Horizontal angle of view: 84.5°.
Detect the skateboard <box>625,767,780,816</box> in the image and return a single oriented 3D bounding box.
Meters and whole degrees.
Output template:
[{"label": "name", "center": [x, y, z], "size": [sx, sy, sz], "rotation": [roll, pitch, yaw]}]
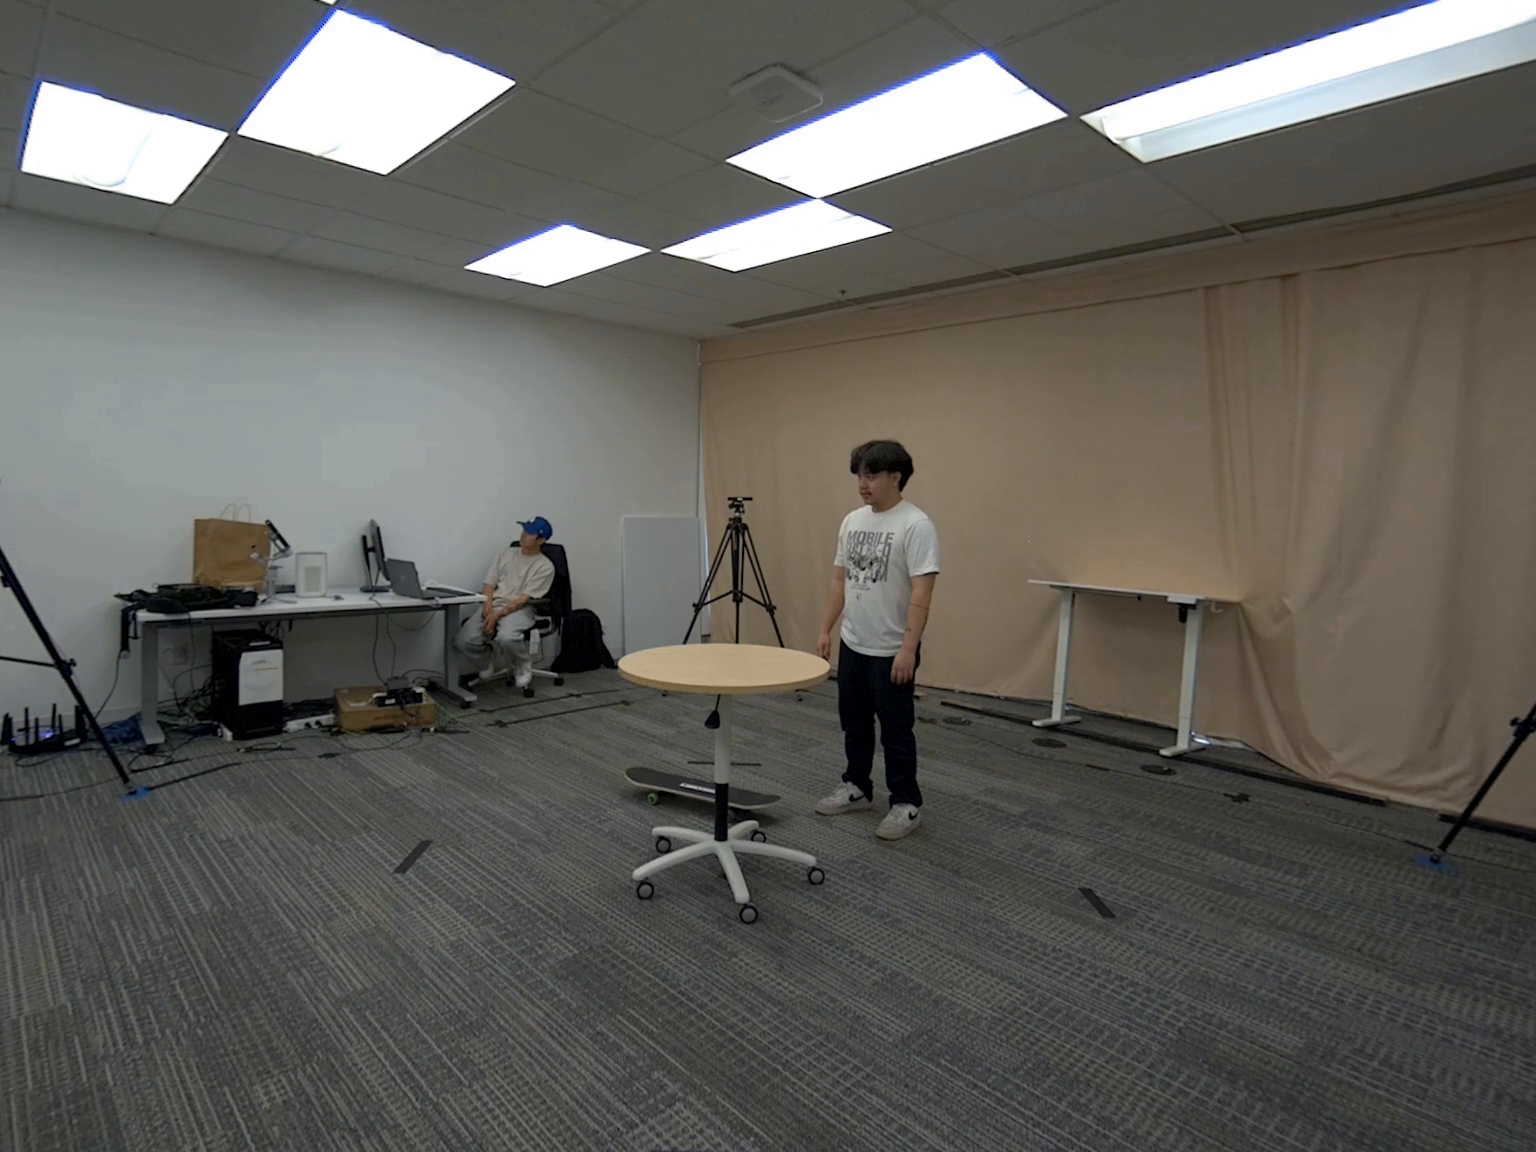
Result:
[{"label": "skateboard", "center": [-0.313, 0.986, 3.793], "size": [0.802, 0.110, 0.190], "rotation": [4, 5, 28]}]
